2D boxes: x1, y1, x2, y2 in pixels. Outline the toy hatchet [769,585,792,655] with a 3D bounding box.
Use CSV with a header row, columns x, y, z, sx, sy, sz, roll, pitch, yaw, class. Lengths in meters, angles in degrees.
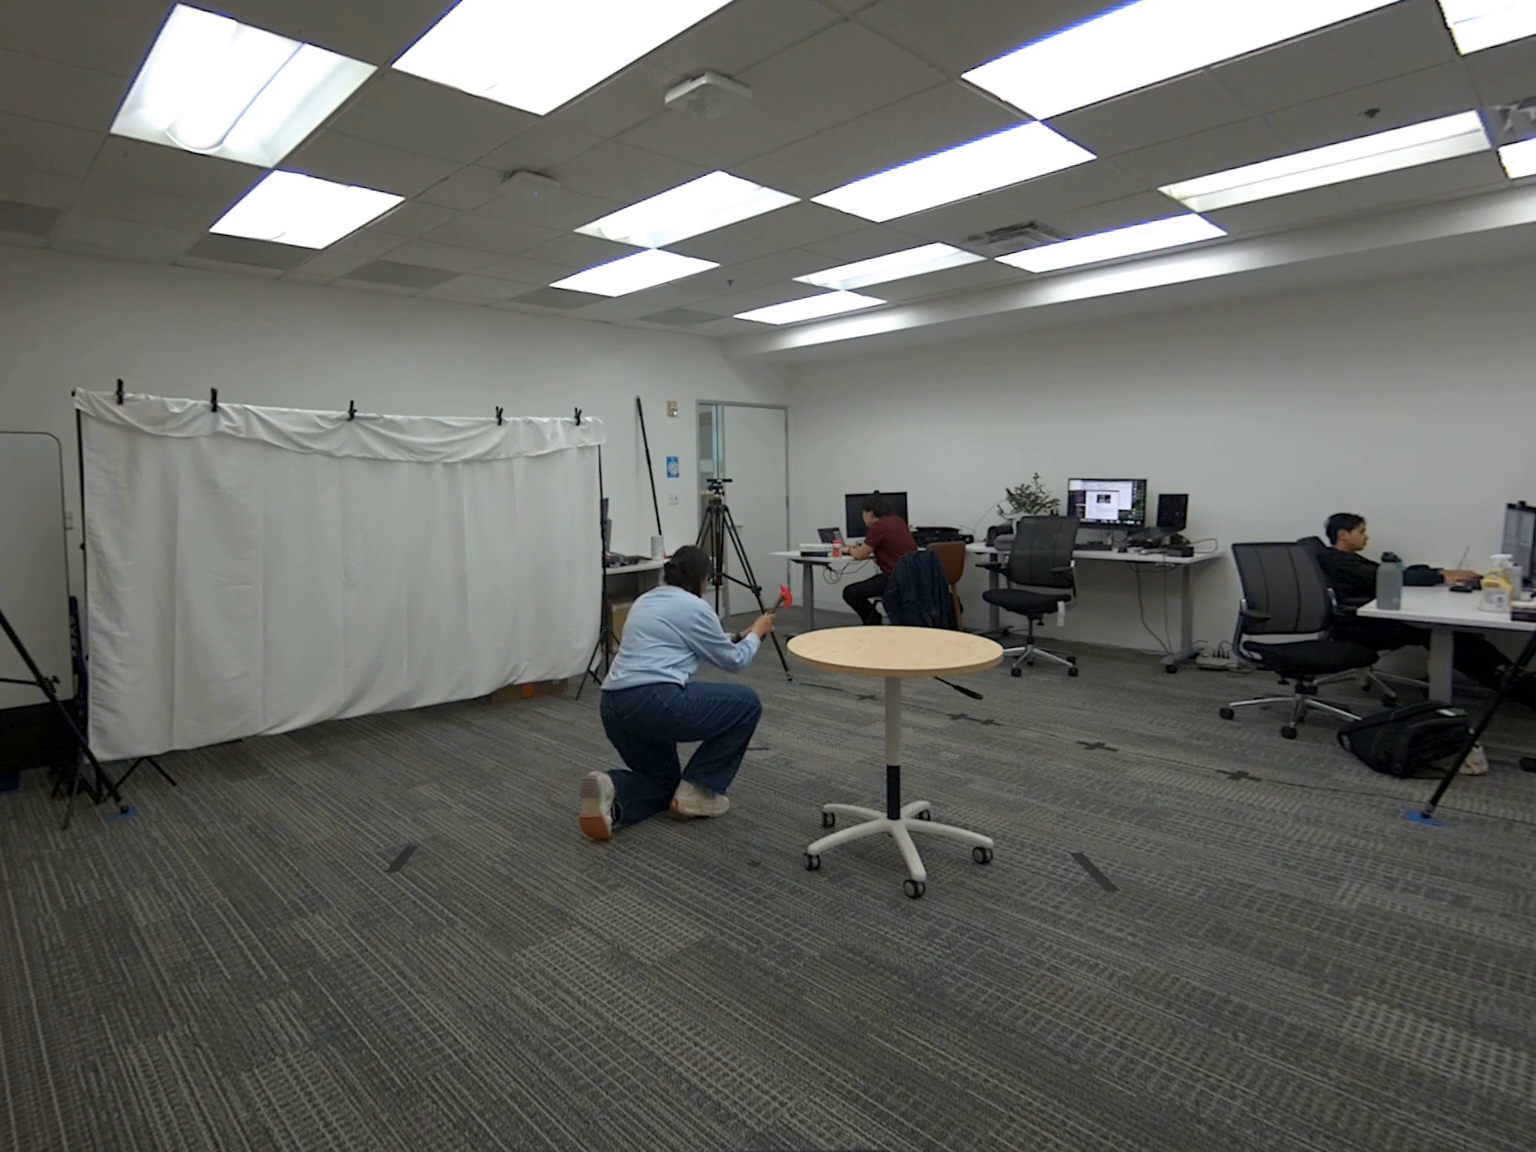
x,y,z,sx,sy,sz,roll,pitch,yaw,class
0.027,0.184,4.025,0.030,0.271,0.126,14,-15,43,toy hatchet
